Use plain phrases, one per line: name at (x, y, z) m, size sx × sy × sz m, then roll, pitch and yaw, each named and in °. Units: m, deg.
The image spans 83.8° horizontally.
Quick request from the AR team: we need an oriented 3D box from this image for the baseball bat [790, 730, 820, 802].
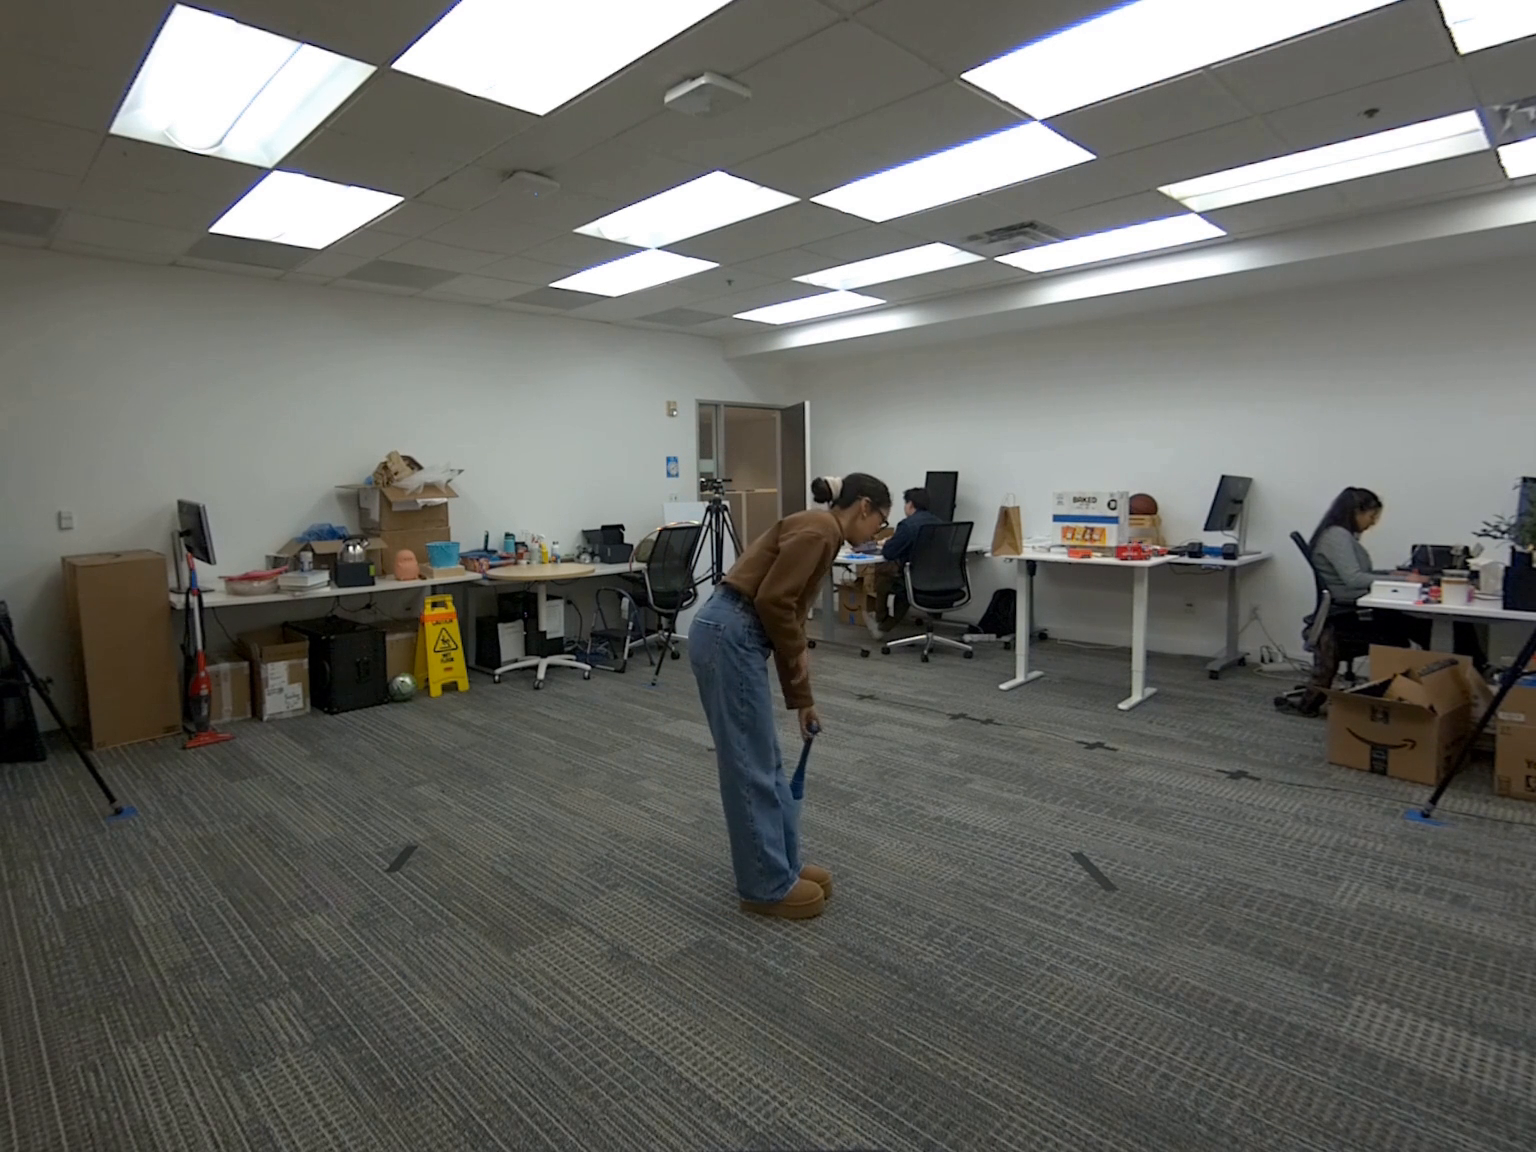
baseball bat at (0.109, 0.776, 3.106) m, size 0.088 × 0.537 × 0.090 m, roll 12°, pitch 16°, yaw -5°
